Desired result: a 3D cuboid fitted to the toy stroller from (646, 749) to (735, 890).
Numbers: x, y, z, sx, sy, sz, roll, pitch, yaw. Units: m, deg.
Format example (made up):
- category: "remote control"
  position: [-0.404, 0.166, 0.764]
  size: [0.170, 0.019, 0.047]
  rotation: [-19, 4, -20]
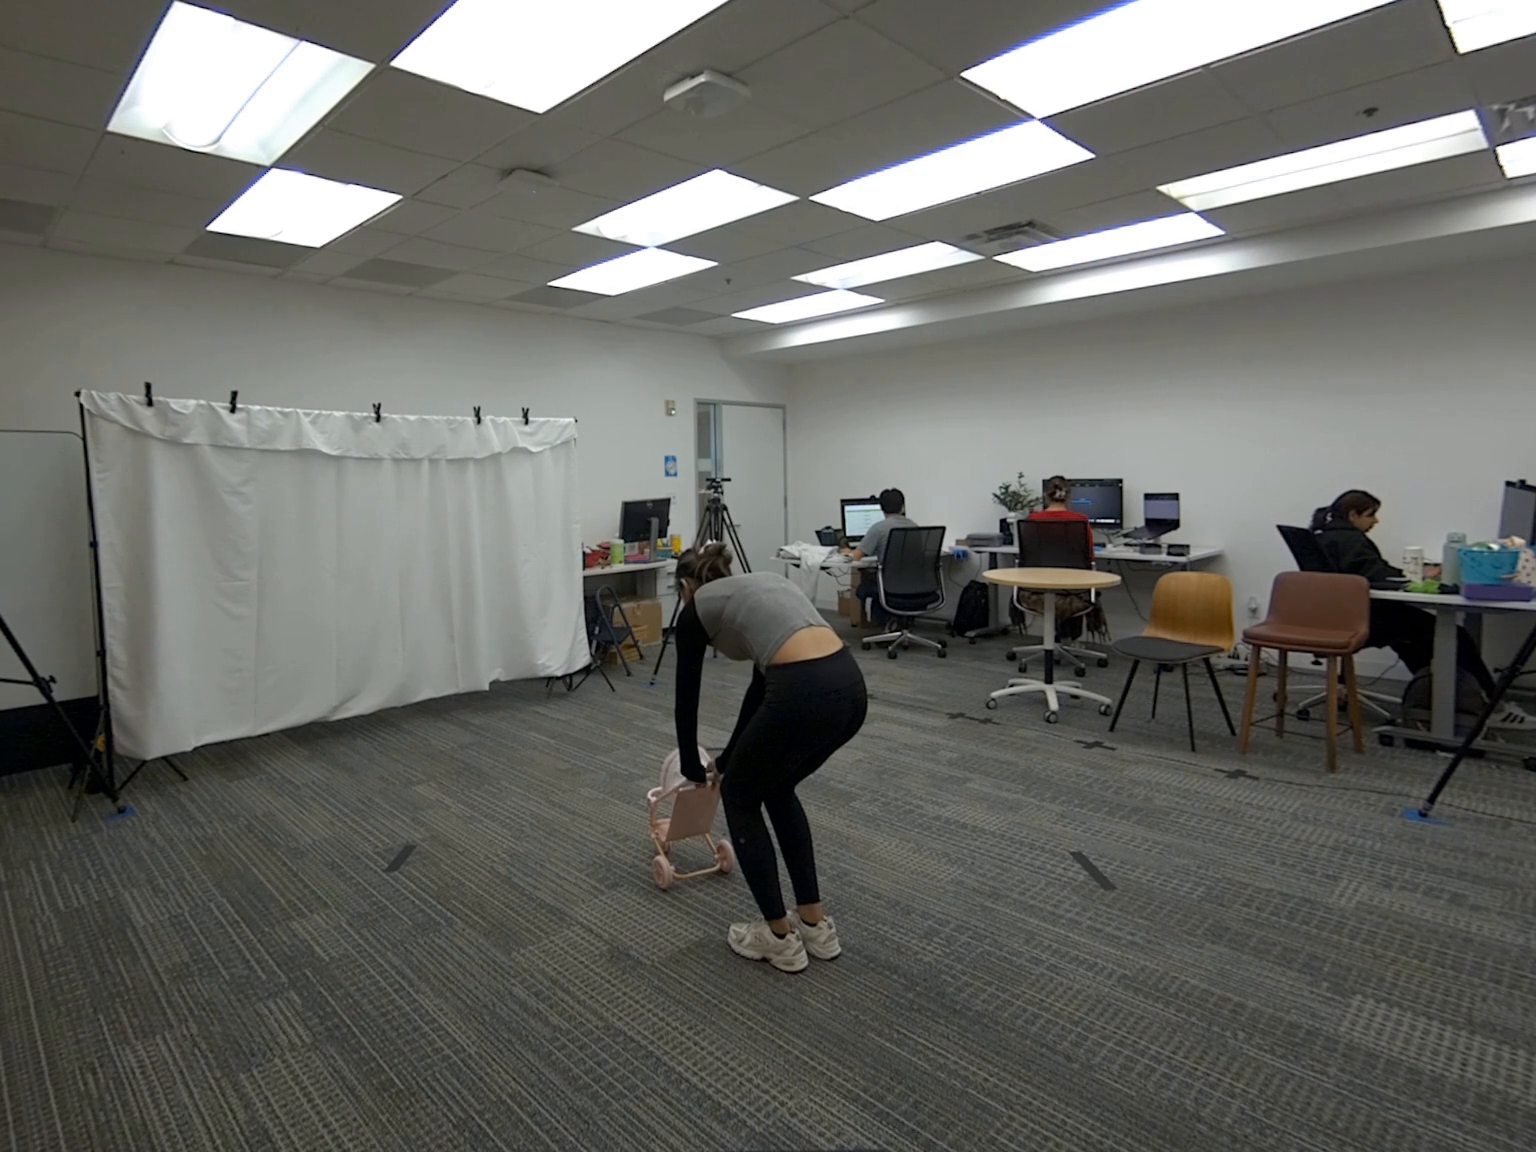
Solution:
- category: "toy stroller"
  position: [-0.288, 0.829, 3.024]
  size: [0.275, 0.527, 0.354]
  rotation: [-3, 21, -27]
